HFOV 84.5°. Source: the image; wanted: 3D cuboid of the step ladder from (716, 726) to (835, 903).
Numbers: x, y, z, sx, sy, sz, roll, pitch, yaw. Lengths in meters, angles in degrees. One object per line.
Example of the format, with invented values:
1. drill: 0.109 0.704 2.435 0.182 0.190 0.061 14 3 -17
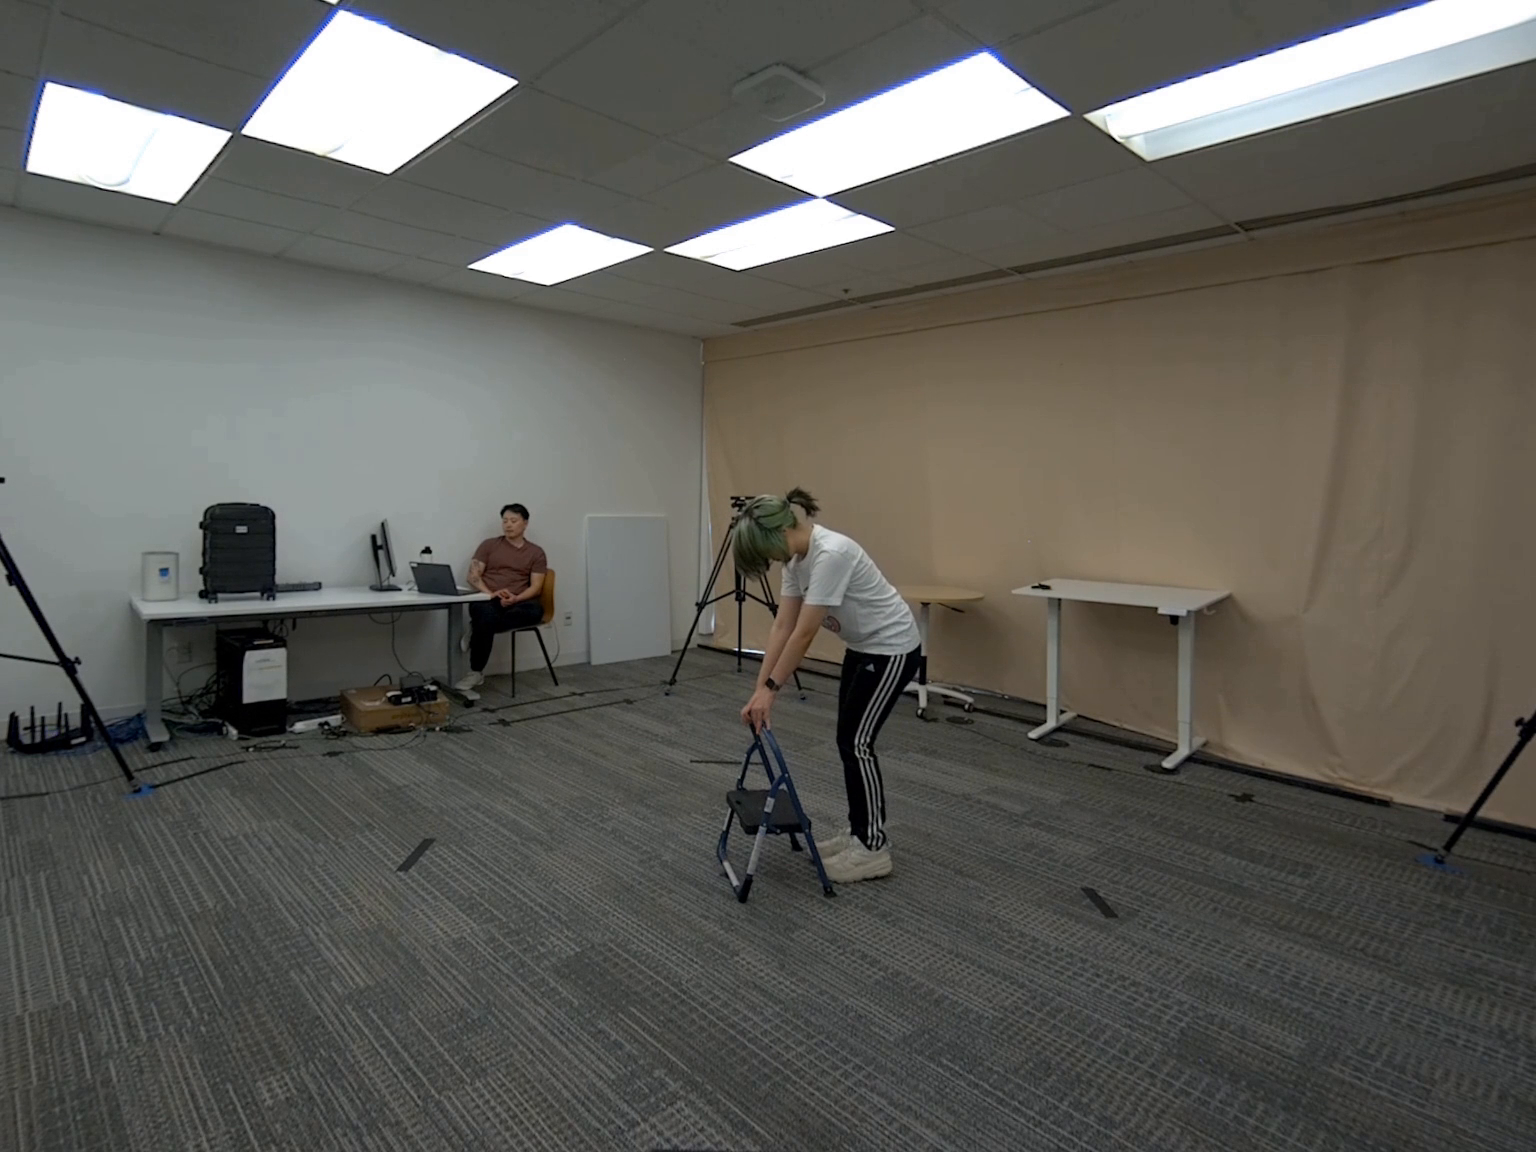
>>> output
1. step ladder: 0.019 0.806 3.103 0.345 0.605 0.436 1 3 -14
